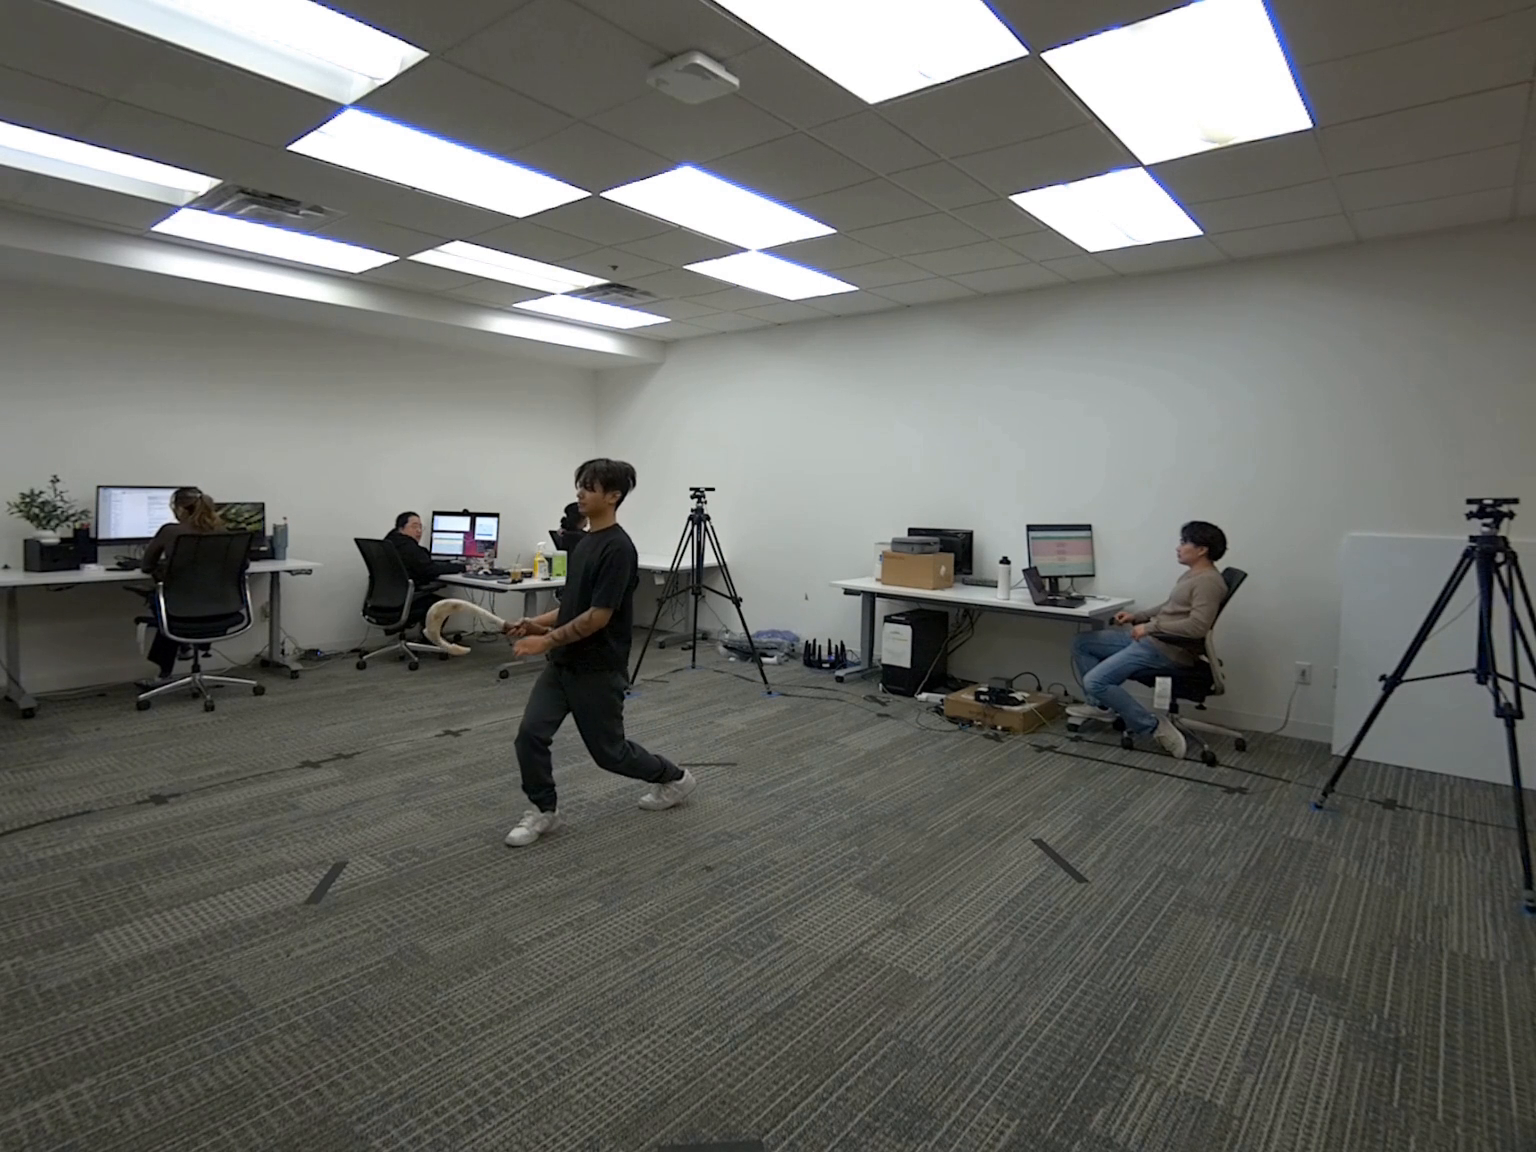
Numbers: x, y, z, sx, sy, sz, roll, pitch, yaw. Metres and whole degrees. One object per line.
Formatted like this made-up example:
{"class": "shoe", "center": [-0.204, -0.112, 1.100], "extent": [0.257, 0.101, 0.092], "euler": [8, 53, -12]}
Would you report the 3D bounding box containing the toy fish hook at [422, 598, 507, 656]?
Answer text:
{"class": "toy fish hook", "center": [-1.162, 0.228, 3.514], "extent": [0.502, 0.224, 0.049], "euler": [14, 6, -6]}
